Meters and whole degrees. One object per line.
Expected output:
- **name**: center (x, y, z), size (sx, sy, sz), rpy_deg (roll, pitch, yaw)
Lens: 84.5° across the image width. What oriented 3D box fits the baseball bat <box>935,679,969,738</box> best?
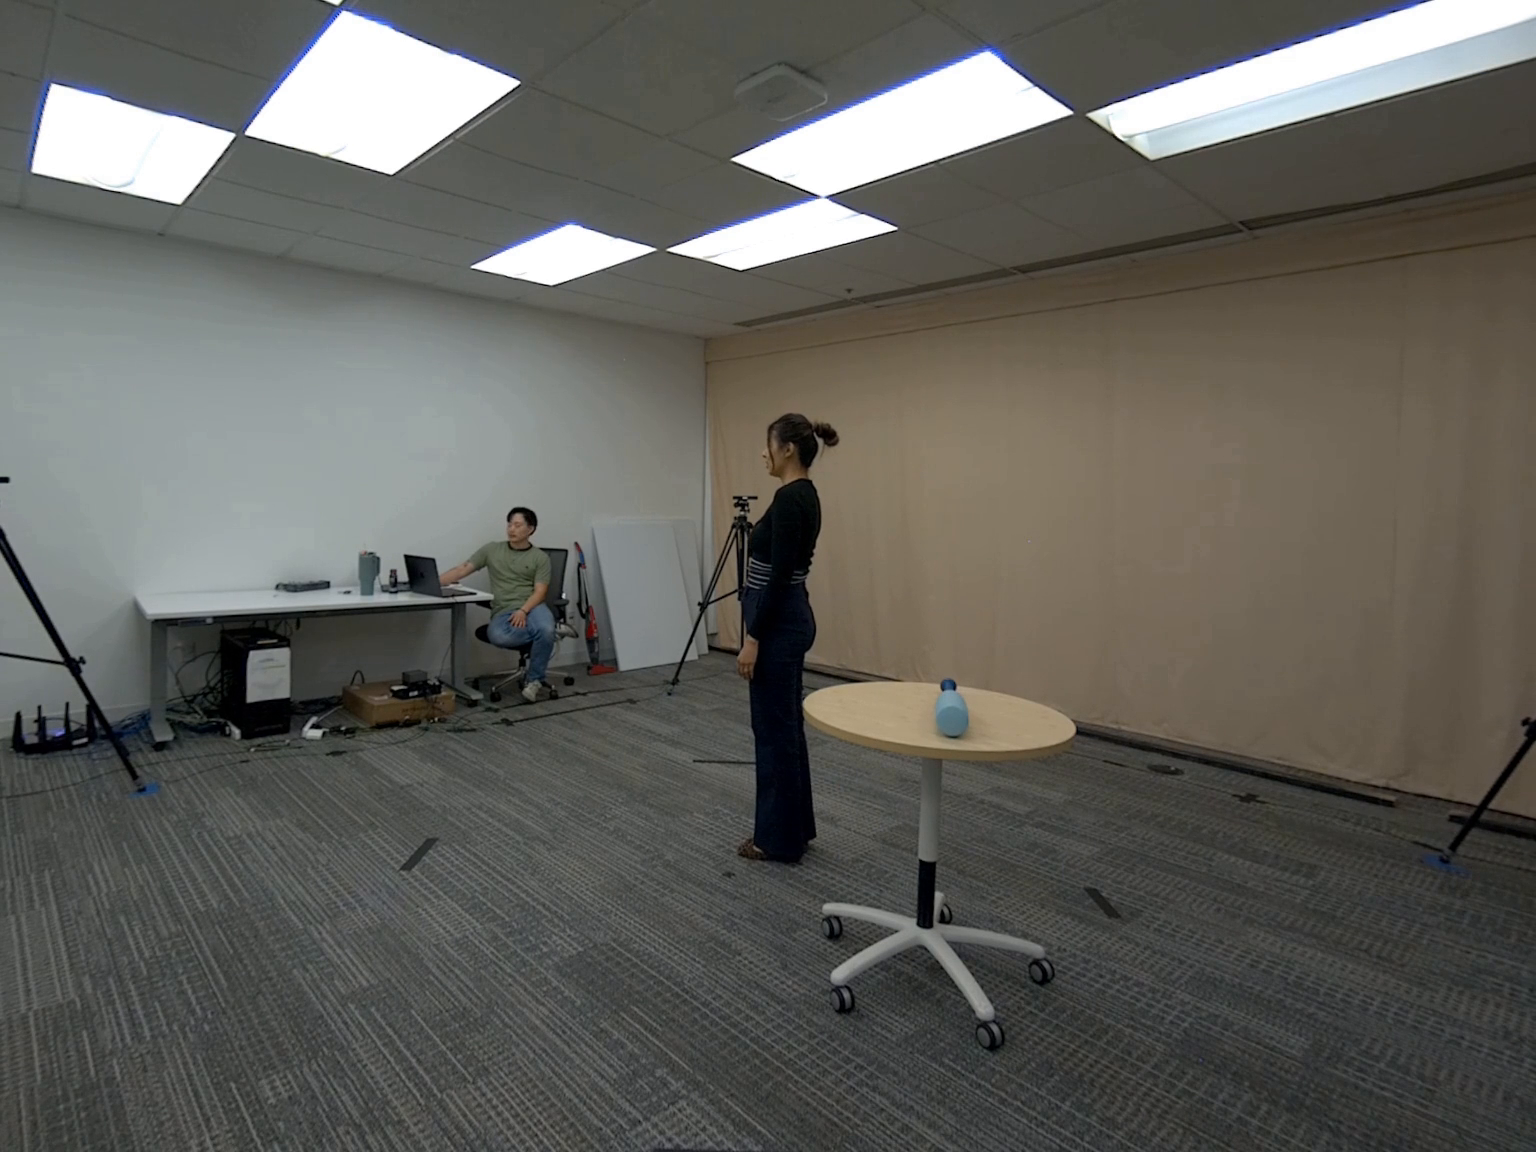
- **baseball bat**: center (0.523, 0.364, 2.417), size (0.090, 0.089, 0.539), rpy_deg (2, 4, 10)
